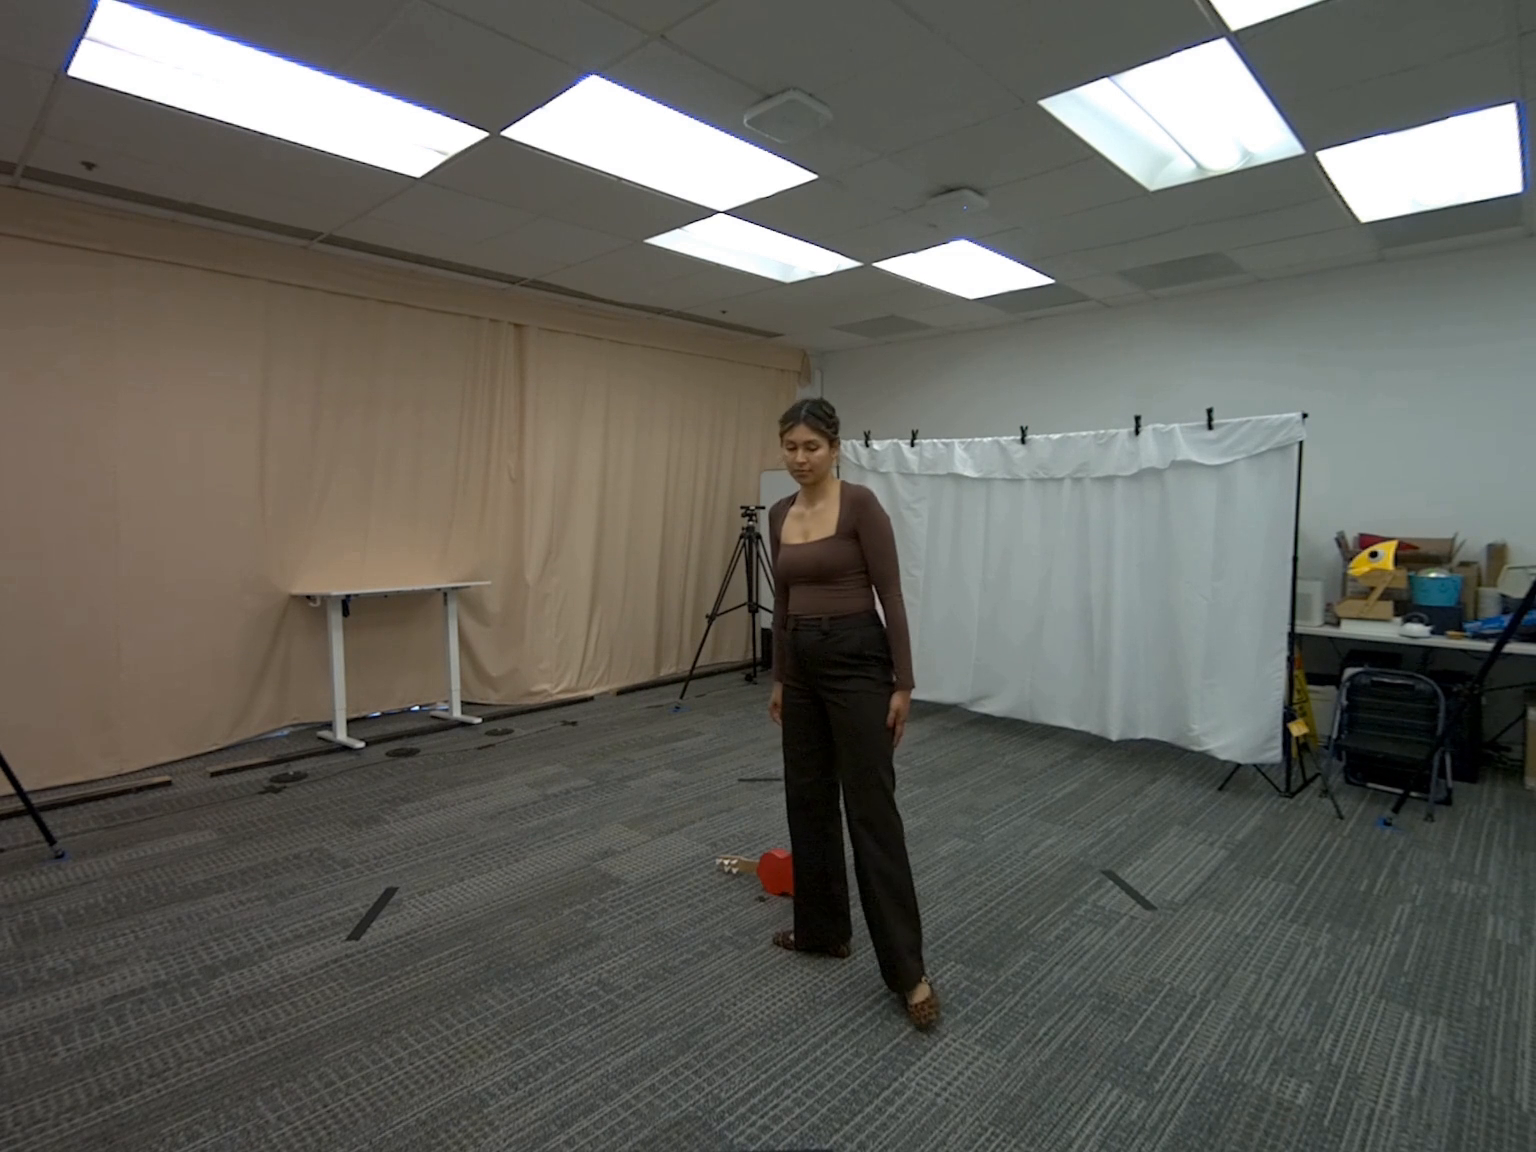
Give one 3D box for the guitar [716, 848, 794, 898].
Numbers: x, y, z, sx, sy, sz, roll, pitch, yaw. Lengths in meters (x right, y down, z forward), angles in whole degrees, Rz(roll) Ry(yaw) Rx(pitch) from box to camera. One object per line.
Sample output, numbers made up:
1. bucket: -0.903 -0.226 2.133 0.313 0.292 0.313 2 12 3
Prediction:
1. guitar: 0.011 1.095 3.061 0.509 0.194 0.068 -19 -10 35
